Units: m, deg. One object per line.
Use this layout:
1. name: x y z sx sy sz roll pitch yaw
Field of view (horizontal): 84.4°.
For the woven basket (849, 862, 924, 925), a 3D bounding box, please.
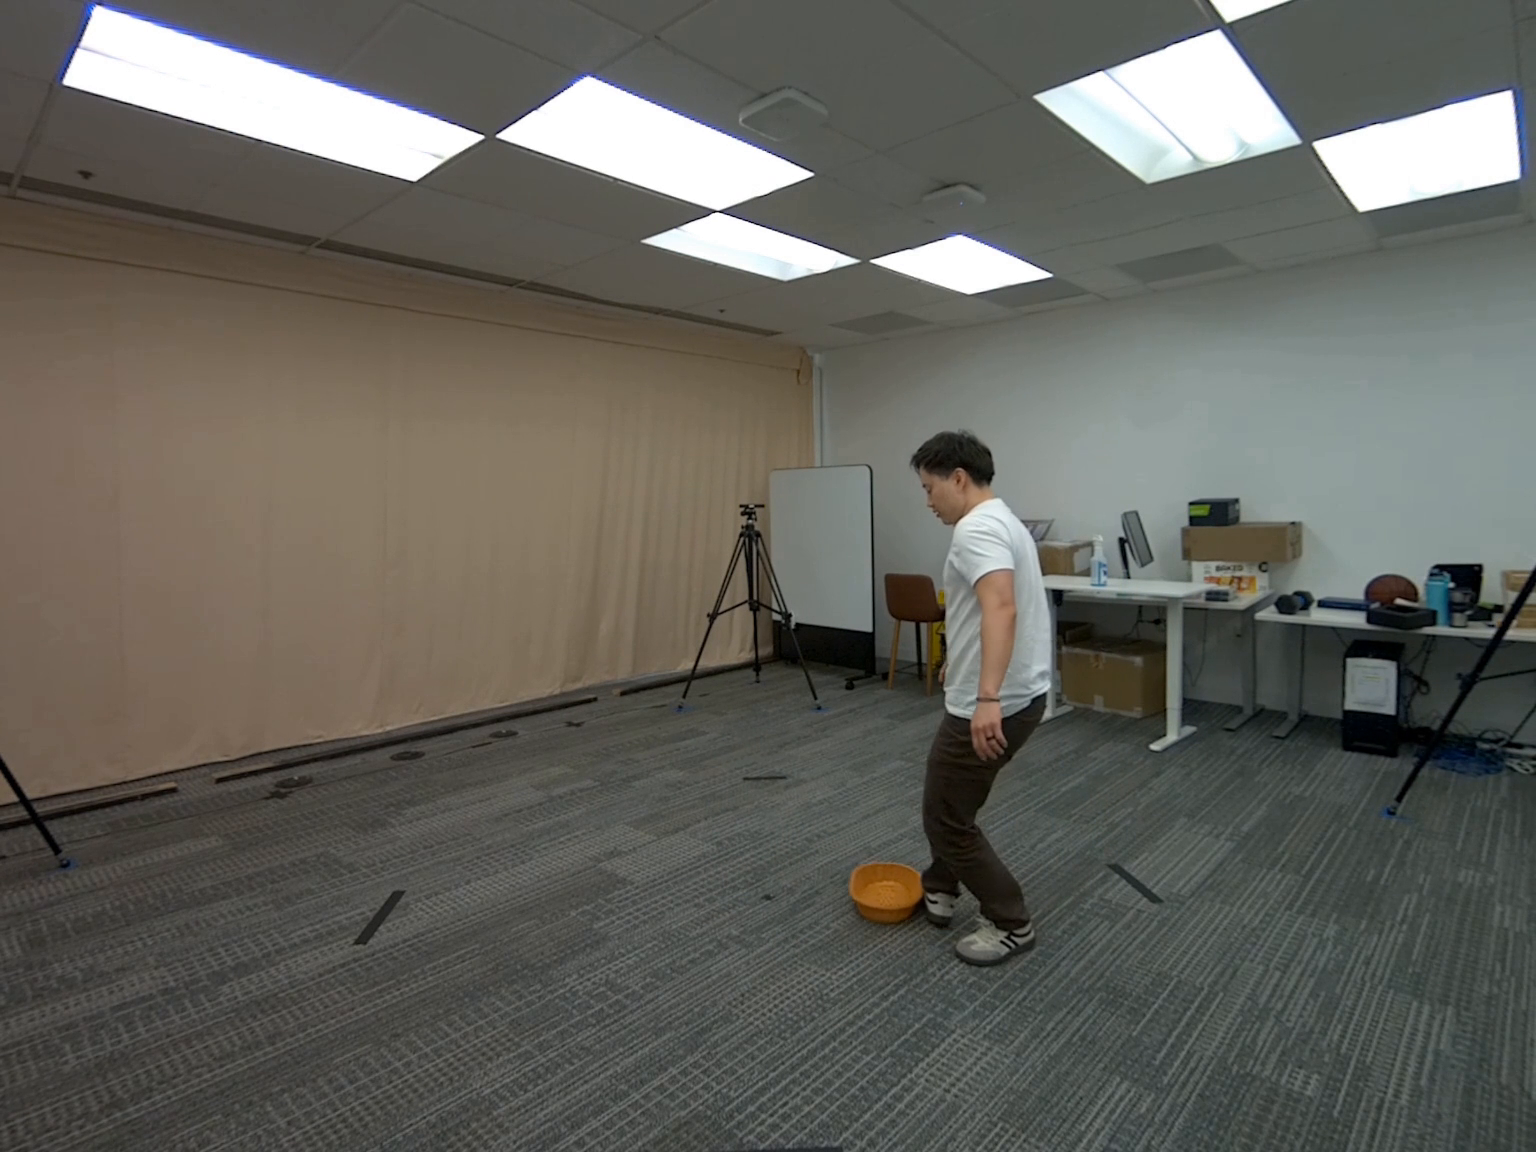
1. woven basket: 0.387 1.093 2.910 0.257 0.073 0.345 -2 5 16
